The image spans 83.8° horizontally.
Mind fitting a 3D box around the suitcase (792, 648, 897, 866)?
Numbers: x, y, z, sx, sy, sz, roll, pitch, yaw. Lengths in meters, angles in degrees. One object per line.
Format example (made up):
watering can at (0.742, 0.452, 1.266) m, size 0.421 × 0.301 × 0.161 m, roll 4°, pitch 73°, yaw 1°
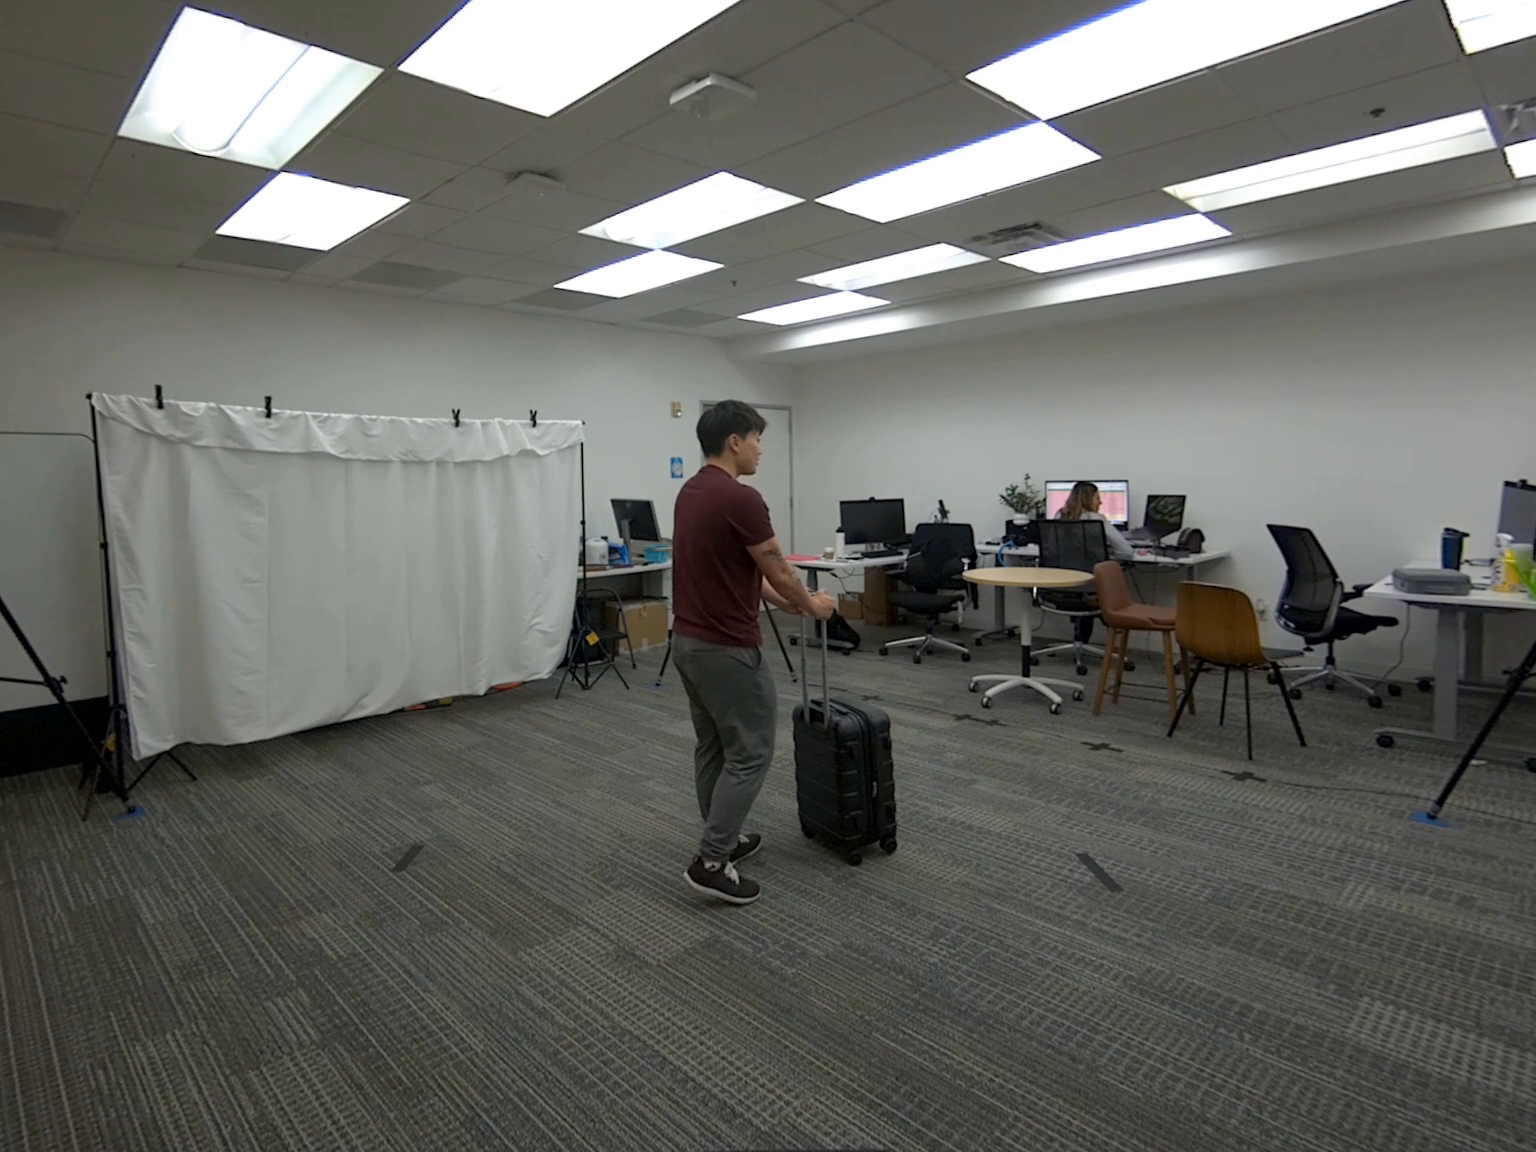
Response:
suitcase at (0.282, 0.545, 3.234) m, size 0.252 × 0.975 × 0.393 m, roll -5°, pitch 5°, yaw -26°
